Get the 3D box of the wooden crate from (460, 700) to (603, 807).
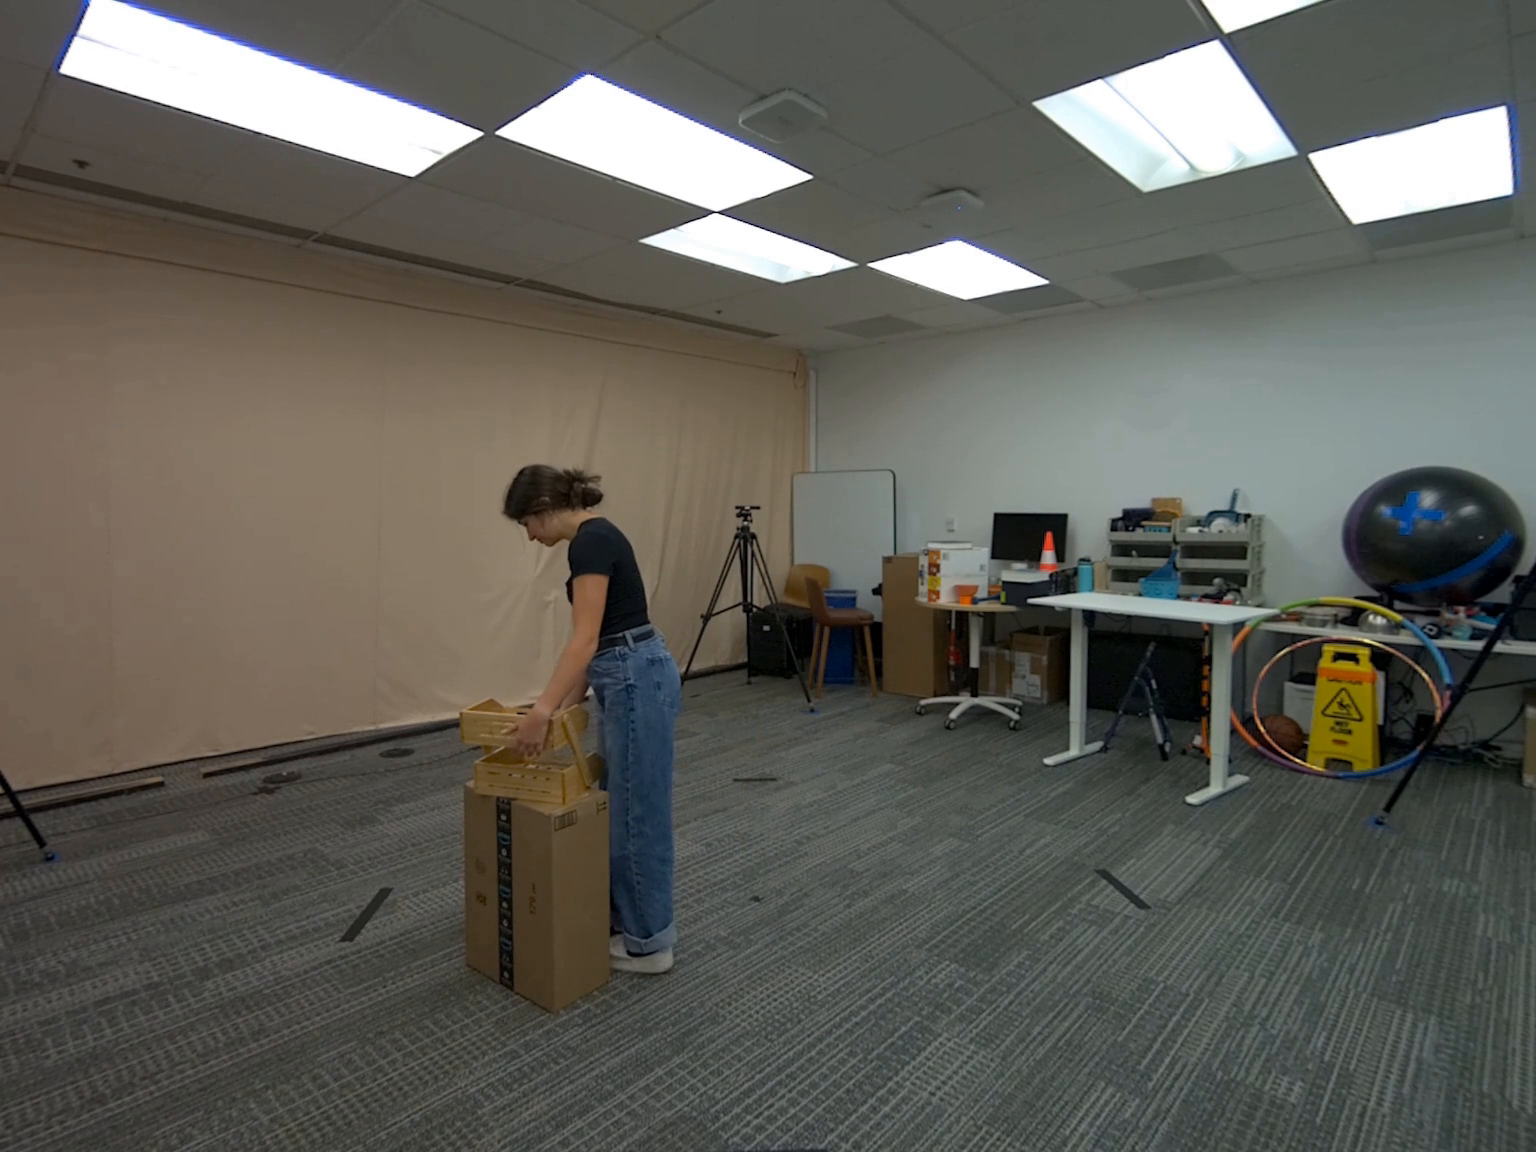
[{"bbox_3d":[-0.688,0.495,2.487,0.331,0.272,0.297,1,6,19],"label":"wooden crate"}]
